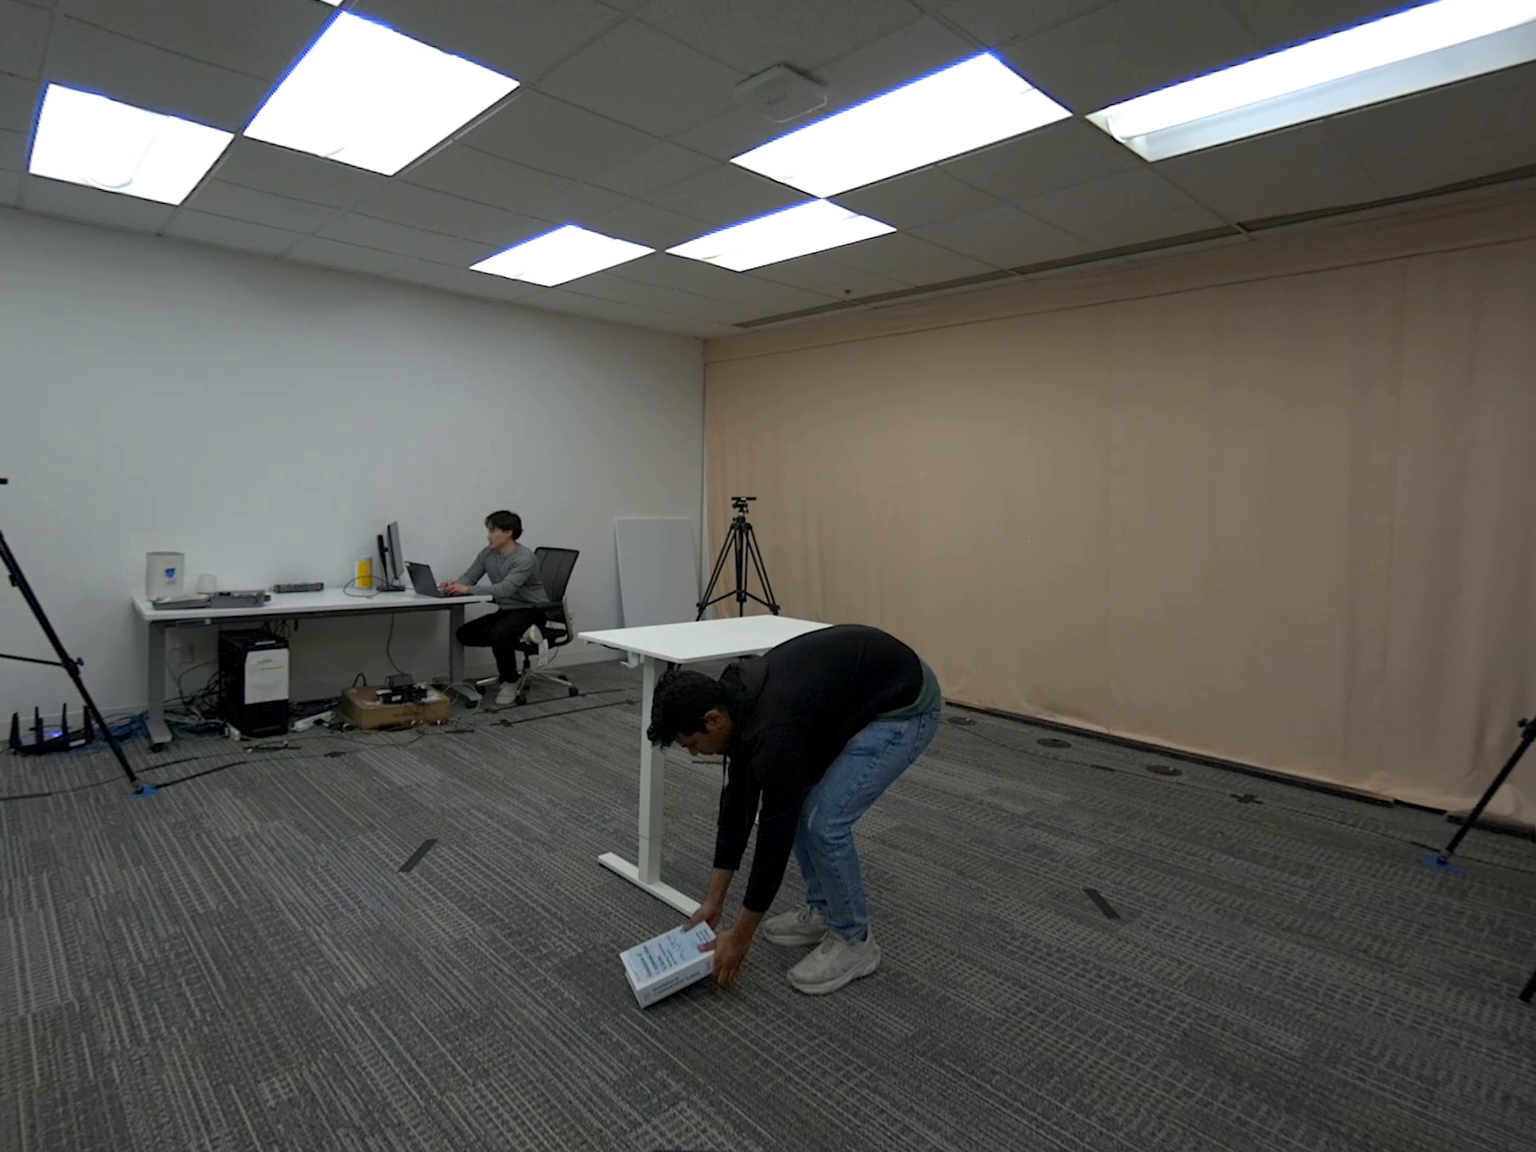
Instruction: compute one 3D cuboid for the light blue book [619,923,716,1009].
[{"bbox_3d":[-0.269,1.079,2.377,0.258,0.058,0.195,-16,11,-20],"label":"light blue book"}]
